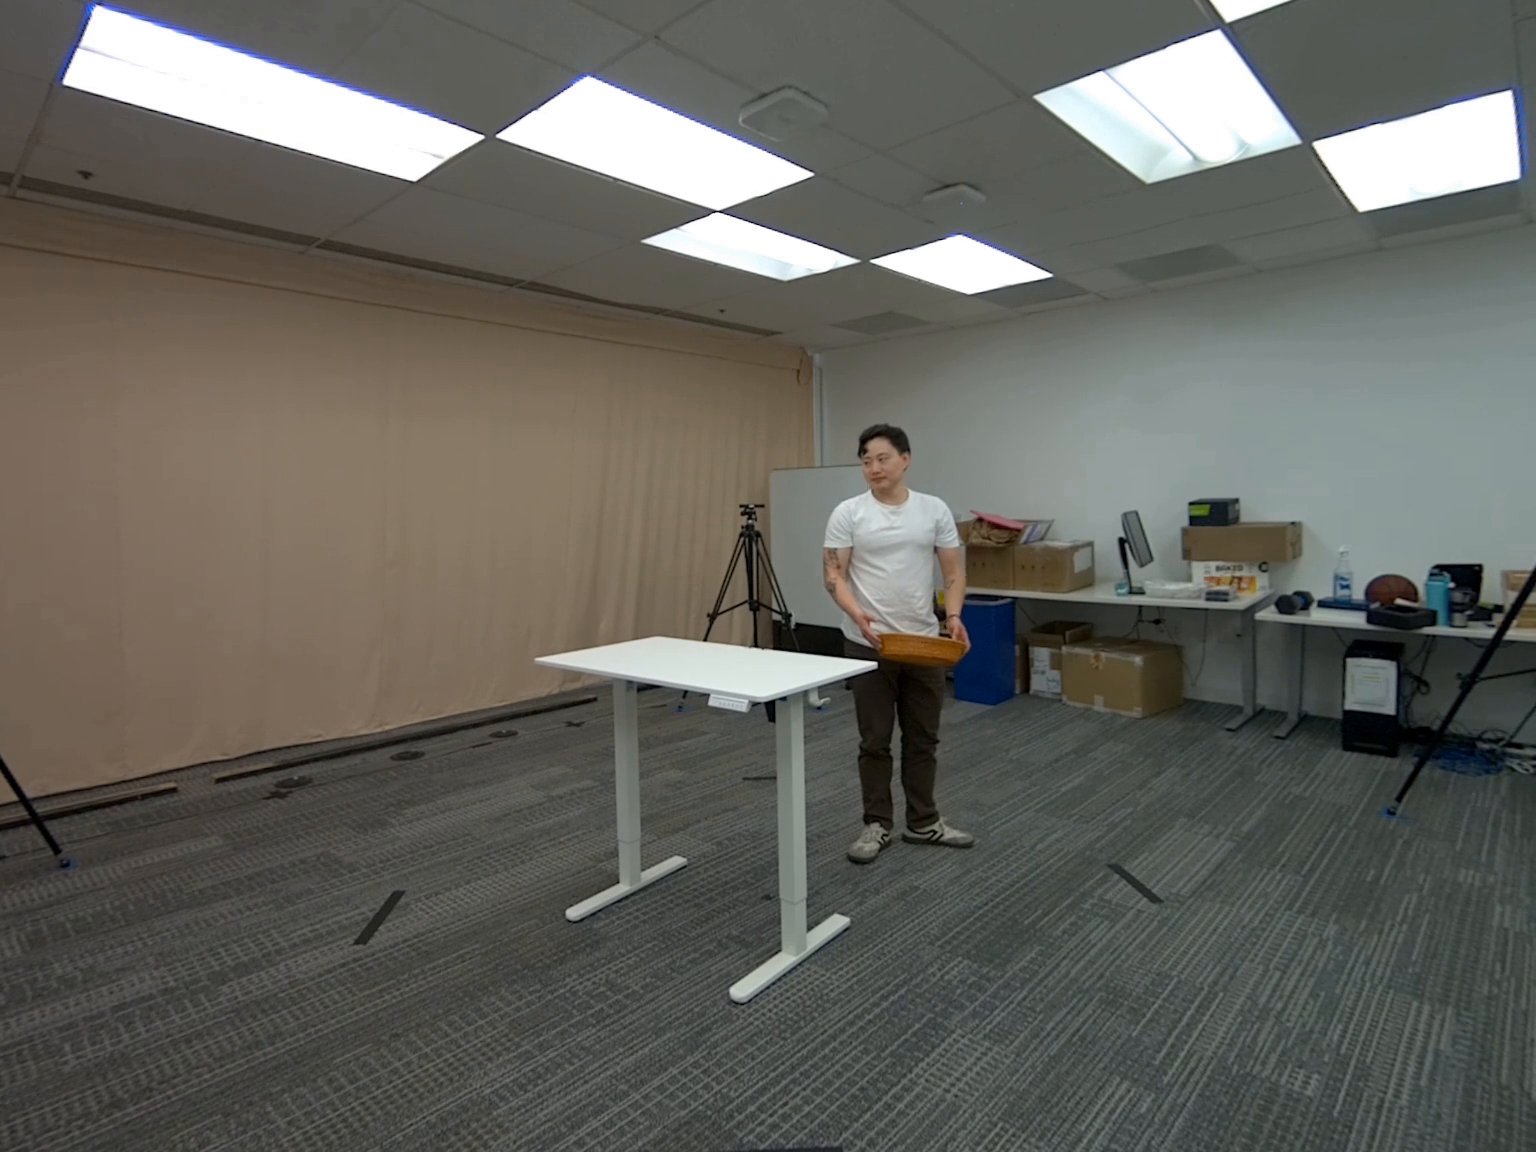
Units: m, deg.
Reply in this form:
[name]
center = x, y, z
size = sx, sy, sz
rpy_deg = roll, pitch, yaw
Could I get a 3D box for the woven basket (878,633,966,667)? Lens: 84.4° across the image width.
[woven basket]
center = 0.593, 0.273, 3.074
size = 0.353, 0.074, 0.249
rpy_deg = 6, -14, 6
